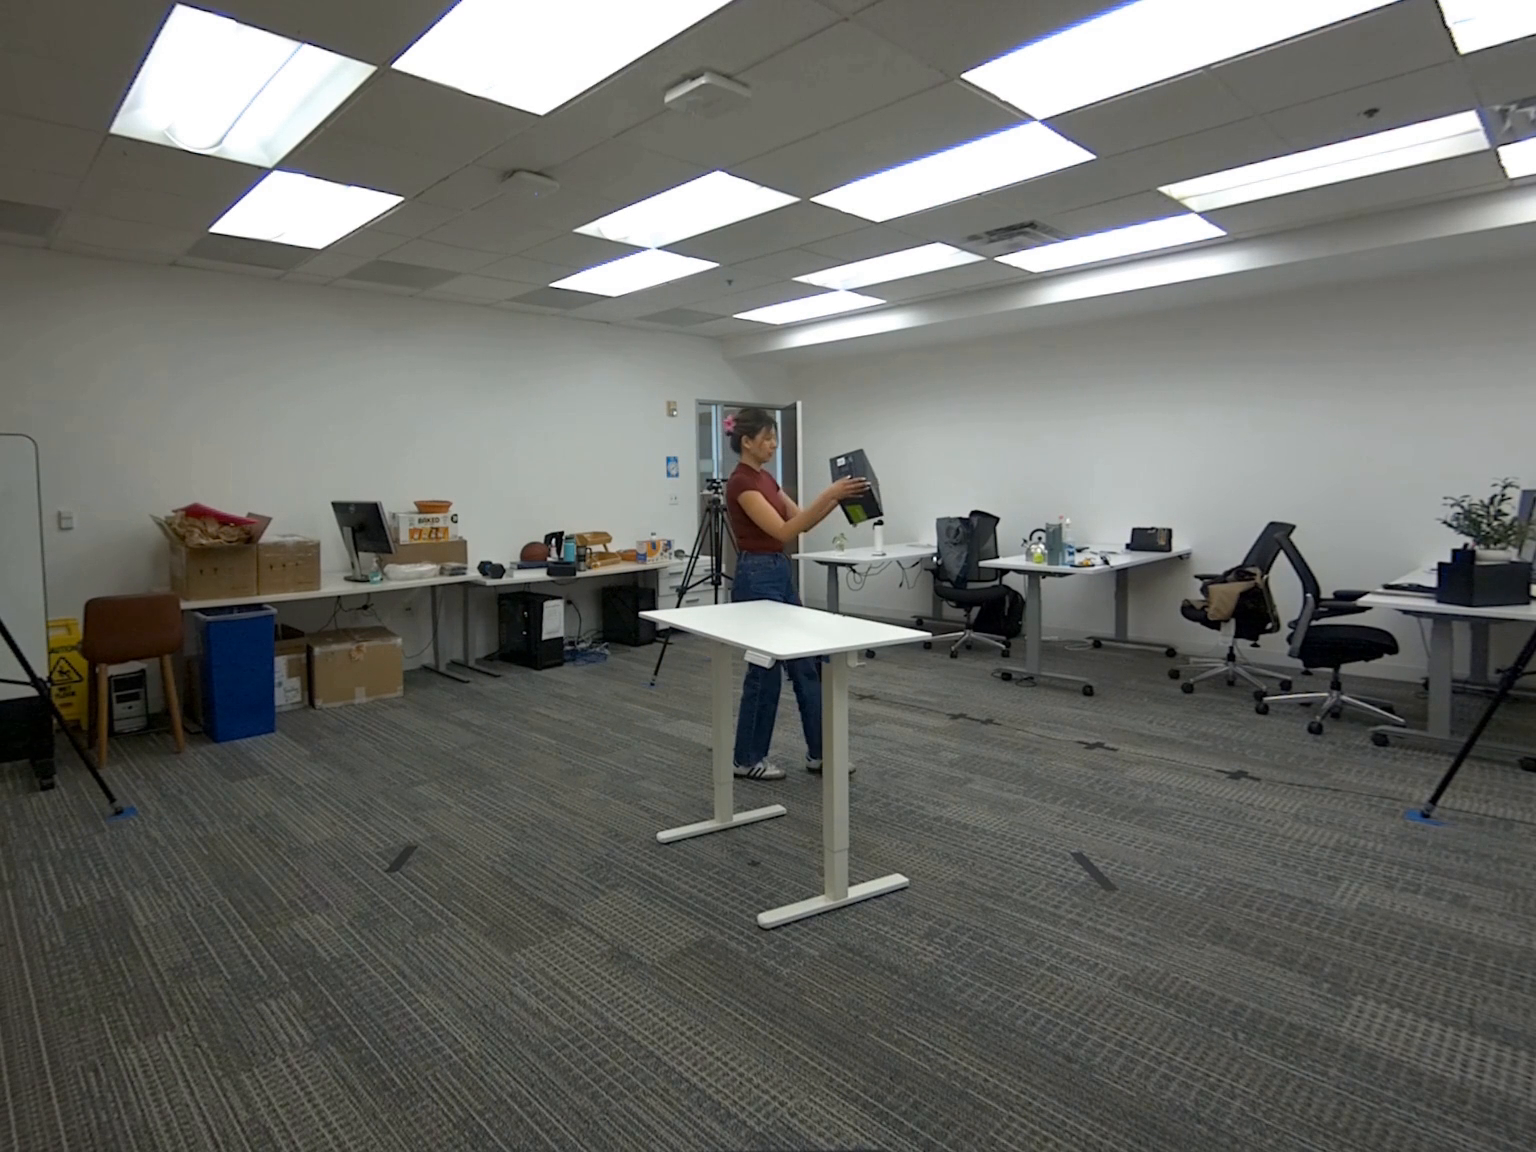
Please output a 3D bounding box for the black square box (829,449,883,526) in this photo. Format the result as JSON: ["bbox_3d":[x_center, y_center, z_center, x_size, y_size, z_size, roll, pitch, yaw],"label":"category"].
[{"bbox_3d":[0.383,-0.392,3.767,0.158,0.223,0.219,-16,-43,18],"label":"black square box"}]
